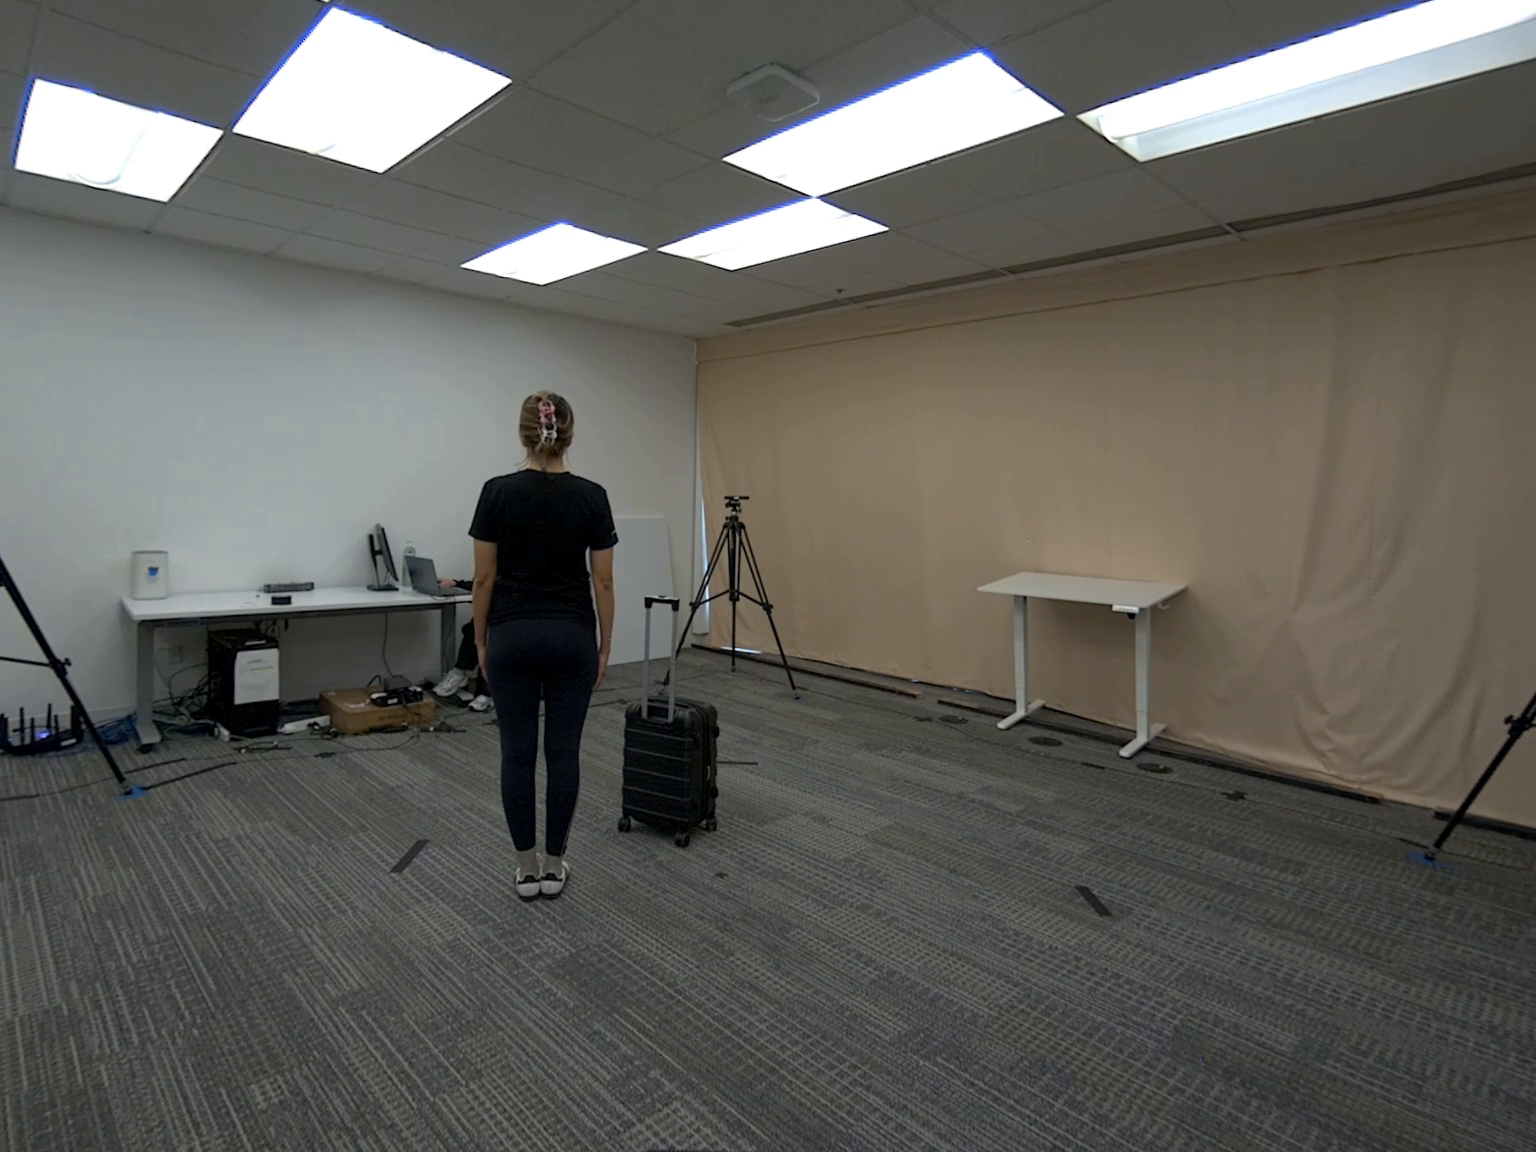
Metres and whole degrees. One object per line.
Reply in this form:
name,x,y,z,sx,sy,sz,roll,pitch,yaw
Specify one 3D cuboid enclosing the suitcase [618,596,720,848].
suitcase,-0.412,0.582,3.525,0.392,0.978,0.252,3,1,28
